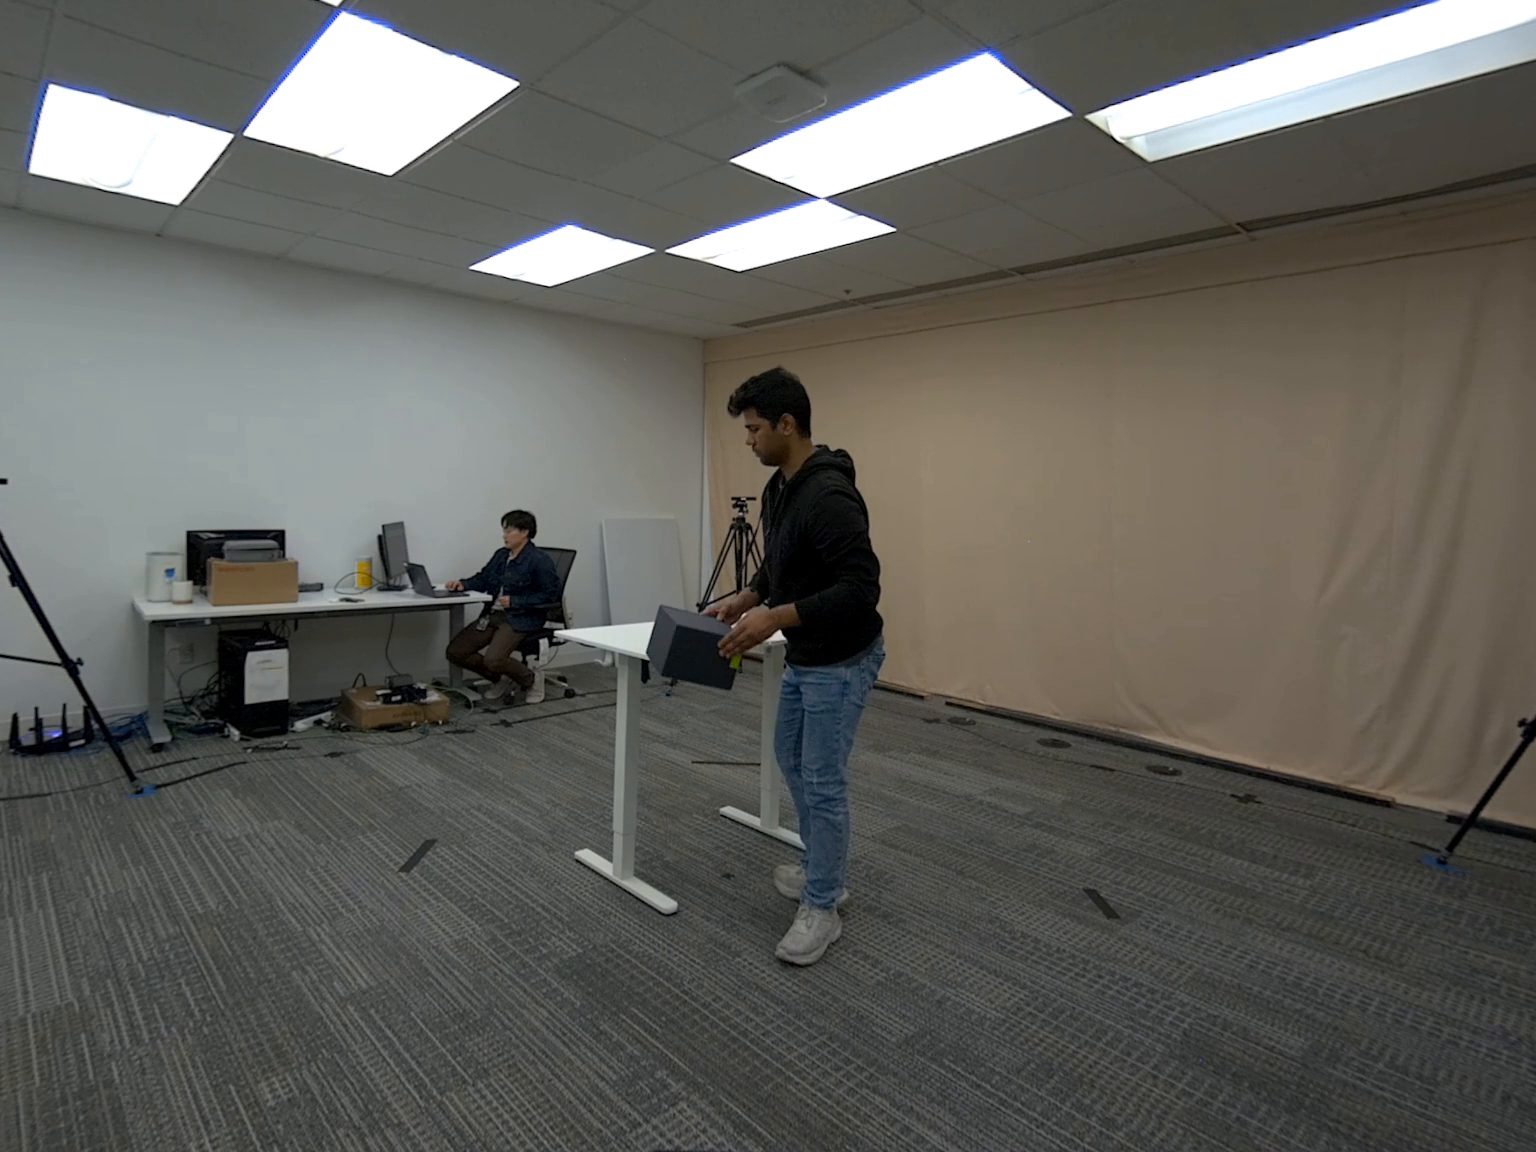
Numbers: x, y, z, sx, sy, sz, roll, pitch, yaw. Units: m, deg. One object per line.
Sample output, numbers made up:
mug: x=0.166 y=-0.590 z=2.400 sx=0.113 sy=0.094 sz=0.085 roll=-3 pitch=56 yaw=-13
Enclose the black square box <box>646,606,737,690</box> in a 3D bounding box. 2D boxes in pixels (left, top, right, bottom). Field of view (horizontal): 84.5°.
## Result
black square box: x=-0.221 y=0.220 z=2.482 sx=0.213 sy=0.155 sz=0.233 roll=15 pitch=6 yaw=-21
